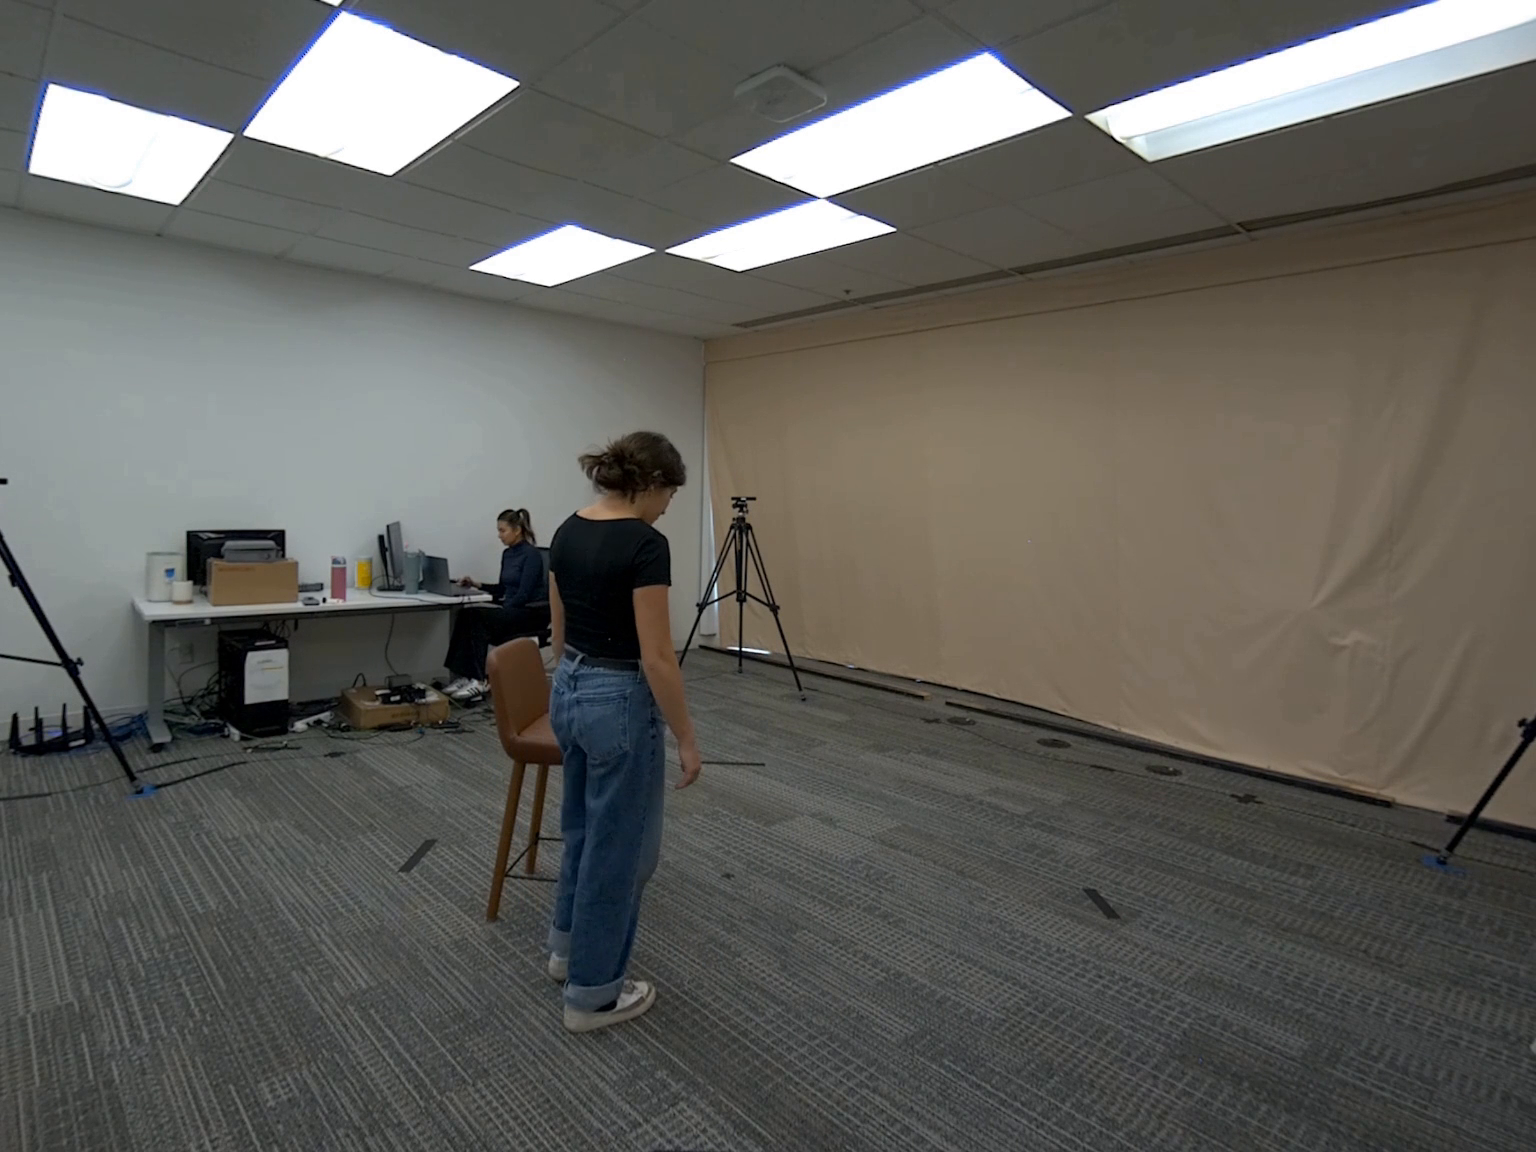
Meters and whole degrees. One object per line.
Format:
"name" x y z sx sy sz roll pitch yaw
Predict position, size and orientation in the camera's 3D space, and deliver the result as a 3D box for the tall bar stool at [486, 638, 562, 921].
"tall bar stool" -0.683 0.681 2.872 0.470 0.888 0.455 0 3 6
